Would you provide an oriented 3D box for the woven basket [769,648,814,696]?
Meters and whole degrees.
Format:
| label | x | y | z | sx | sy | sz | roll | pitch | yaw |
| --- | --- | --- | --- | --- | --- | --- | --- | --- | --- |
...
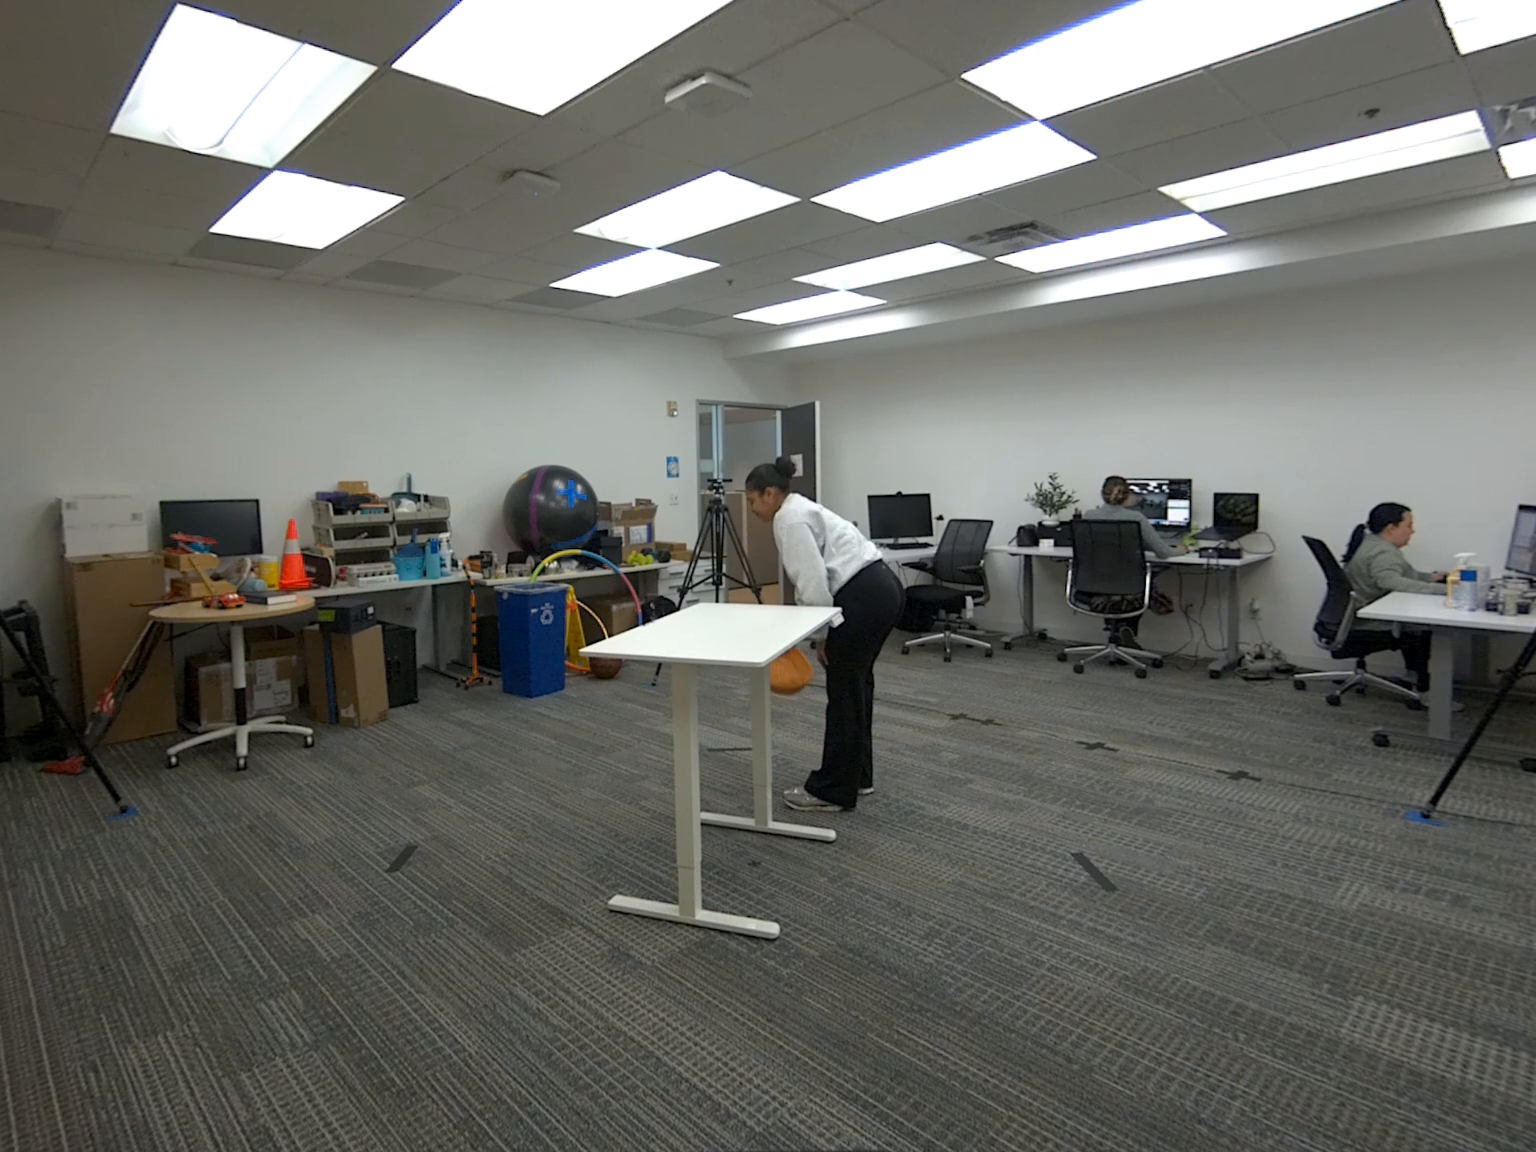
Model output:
| label | x | y | z | sx | sy | sz | roll | pitch | yaw |
| --- | --- | --- | --- | --- | --- | --- | --- | --- | --- |
| woven basket | 0.105 | 0.434 | 3.831 | 0.250 | 0.071 | 0.364 | -22 | 33 | -19 |
